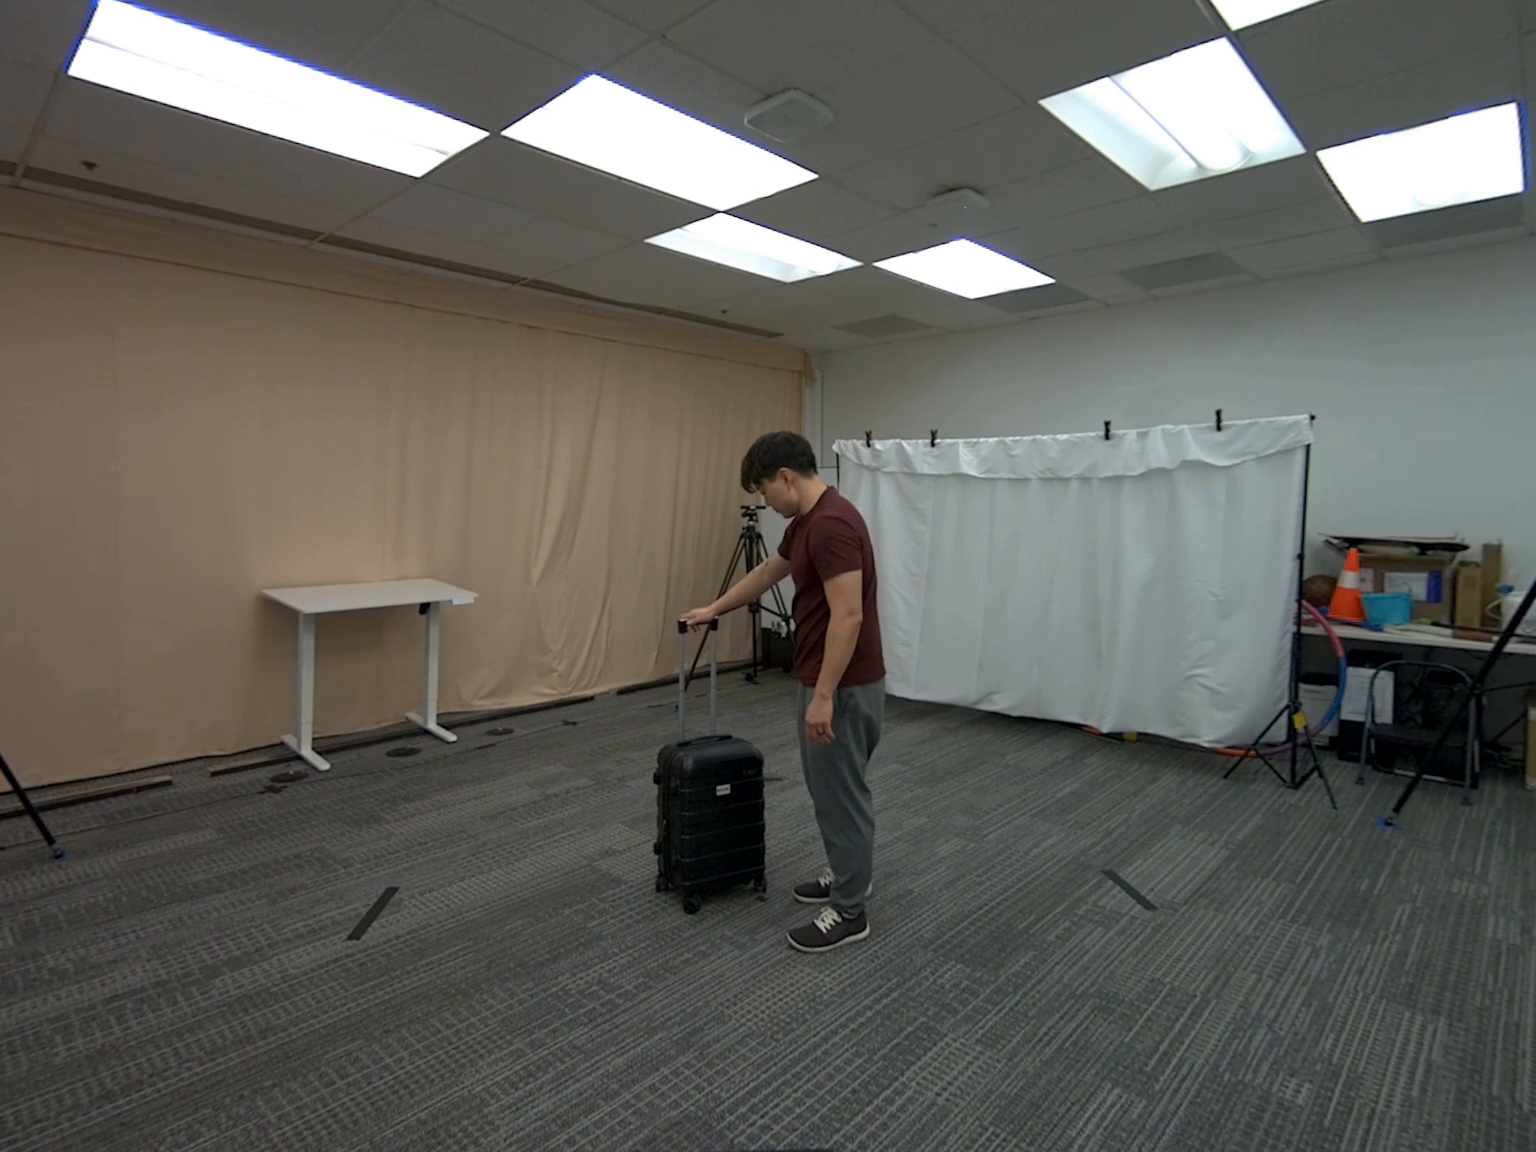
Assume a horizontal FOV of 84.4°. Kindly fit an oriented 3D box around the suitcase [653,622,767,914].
[{"bbox_3d":[-0.203,0.662,3.032,0.375,0.976,0.264,-1,5,-23],"label":"suitcase"}]
